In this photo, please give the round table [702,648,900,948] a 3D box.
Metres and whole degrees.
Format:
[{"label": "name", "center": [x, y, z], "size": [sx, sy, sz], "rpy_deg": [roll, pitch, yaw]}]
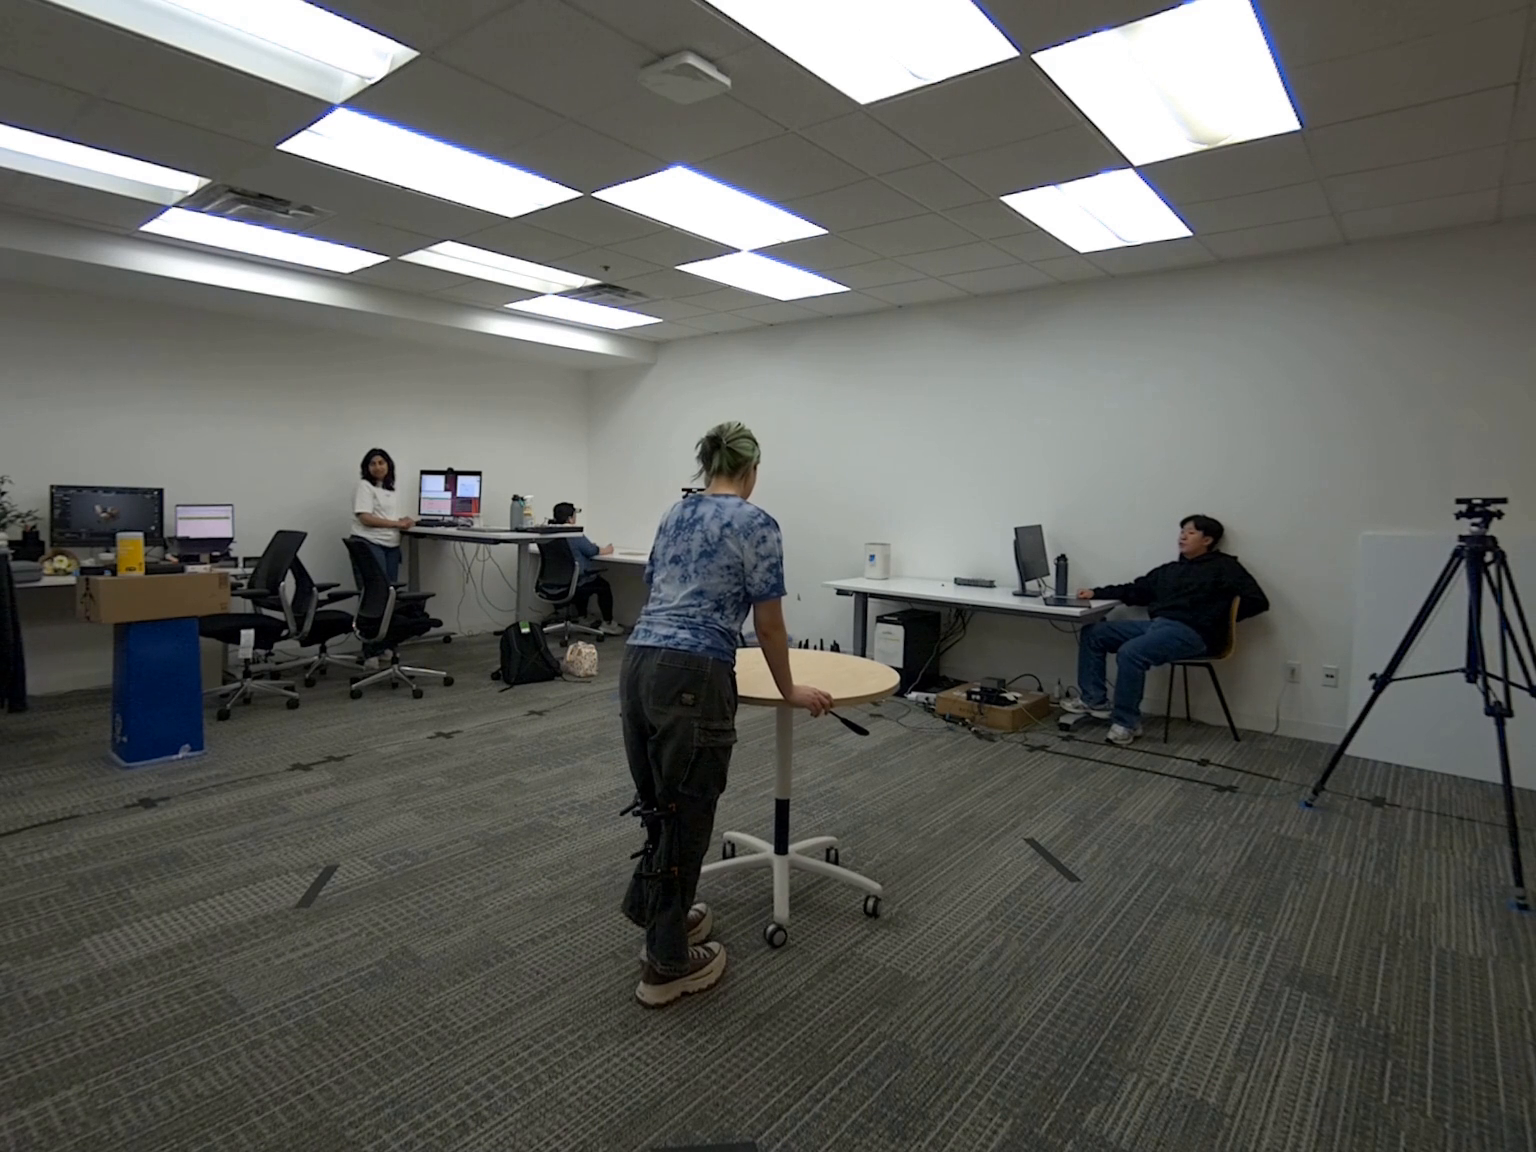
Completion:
[{"label": "round table", "center": [0.046, 0.708, 2.919], "size": [0.763, 0.791, 0.768], "rpy_deg": [1, 5, -2]}]
